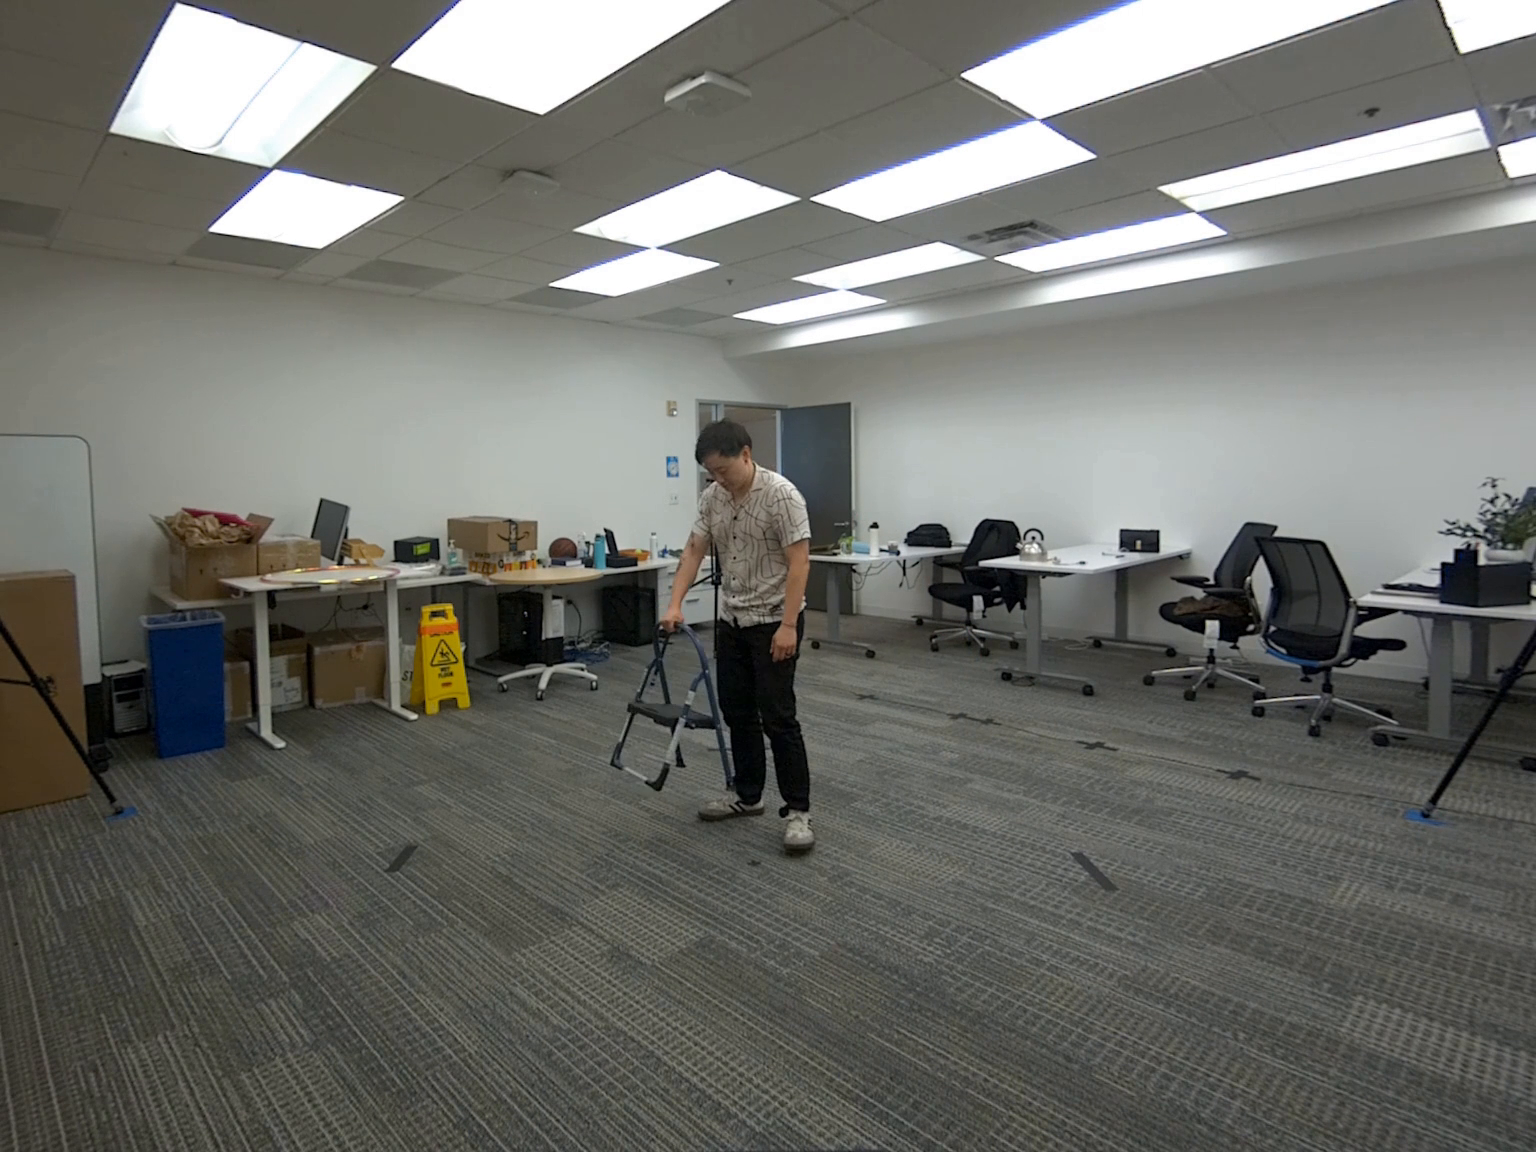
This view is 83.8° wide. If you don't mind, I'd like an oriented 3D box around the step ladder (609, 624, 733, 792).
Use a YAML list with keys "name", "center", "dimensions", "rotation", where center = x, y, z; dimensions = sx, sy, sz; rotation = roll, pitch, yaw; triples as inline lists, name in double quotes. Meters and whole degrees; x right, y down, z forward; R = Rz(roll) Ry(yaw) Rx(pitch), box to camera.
- name: "step ladder"
  center: [-0.344, 0.490, 3.358]
  dimensions: [0.339, 0.608, 0.442]
  rotation: [9, -4, -34]
